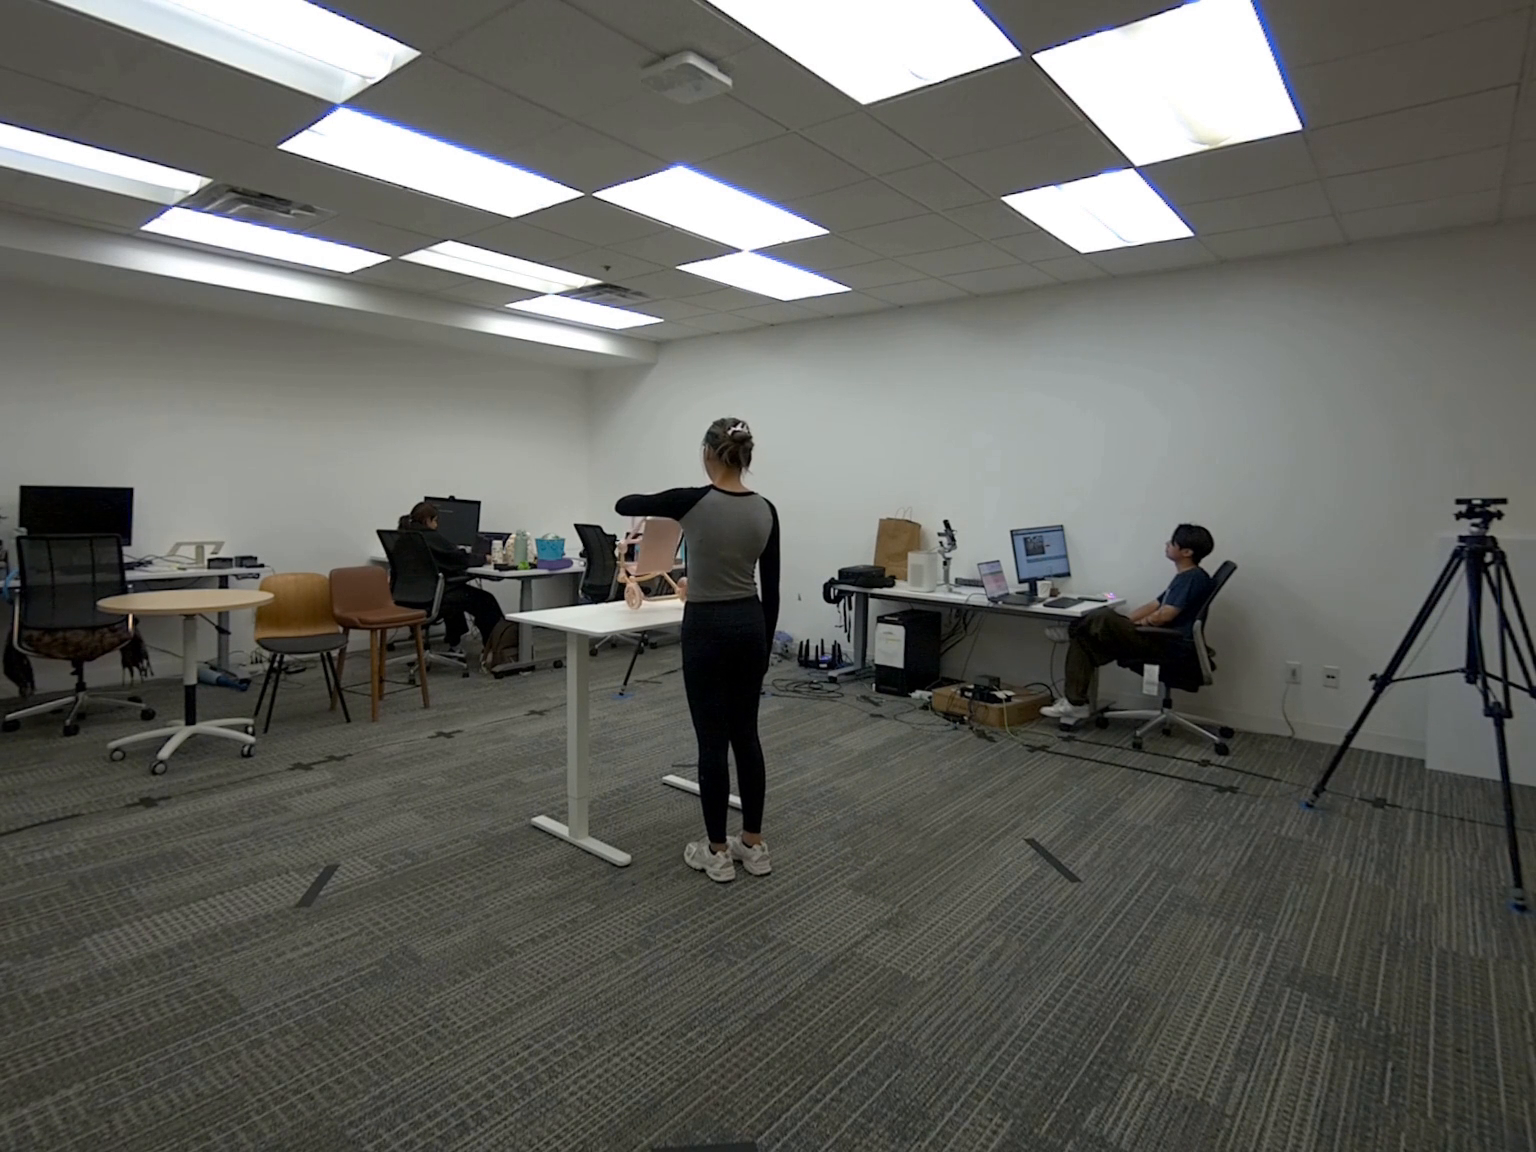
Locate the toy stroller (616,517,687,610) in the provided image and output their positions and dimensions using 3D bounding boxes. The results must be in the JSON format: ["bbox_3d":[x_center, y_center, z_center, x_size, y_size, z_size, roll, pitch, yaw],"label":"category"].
[{"bbox_3d":[-0.501,-0.111,3.579,0.274,0.528,0.355,-3,20,-32],"label":"toy stroller"}]
